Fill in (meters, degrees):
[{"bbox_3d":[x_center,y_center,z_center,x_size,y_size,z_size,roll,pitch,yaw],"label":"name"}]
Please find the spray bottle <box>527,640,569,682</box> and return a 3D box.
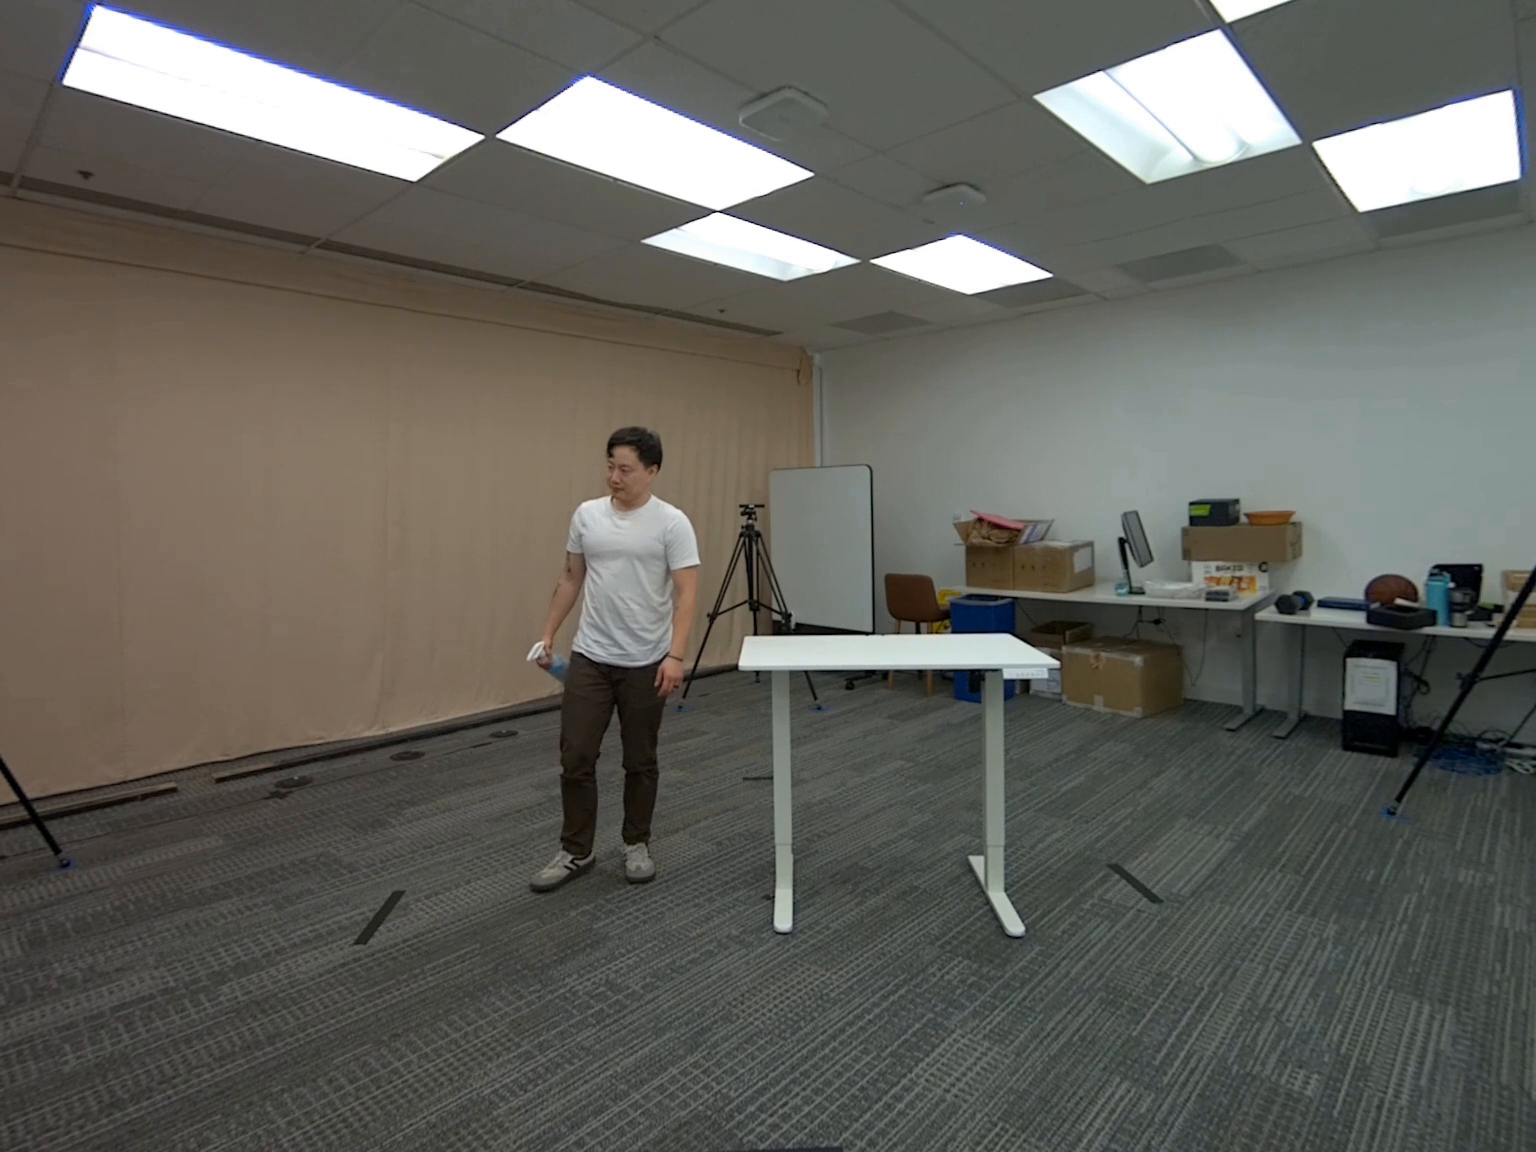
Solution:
[{"bbox_3d":[-0.828,0.346,3.254,0.090,0.090,0.287,45,-6,37],"label":"spray bottle"}]
